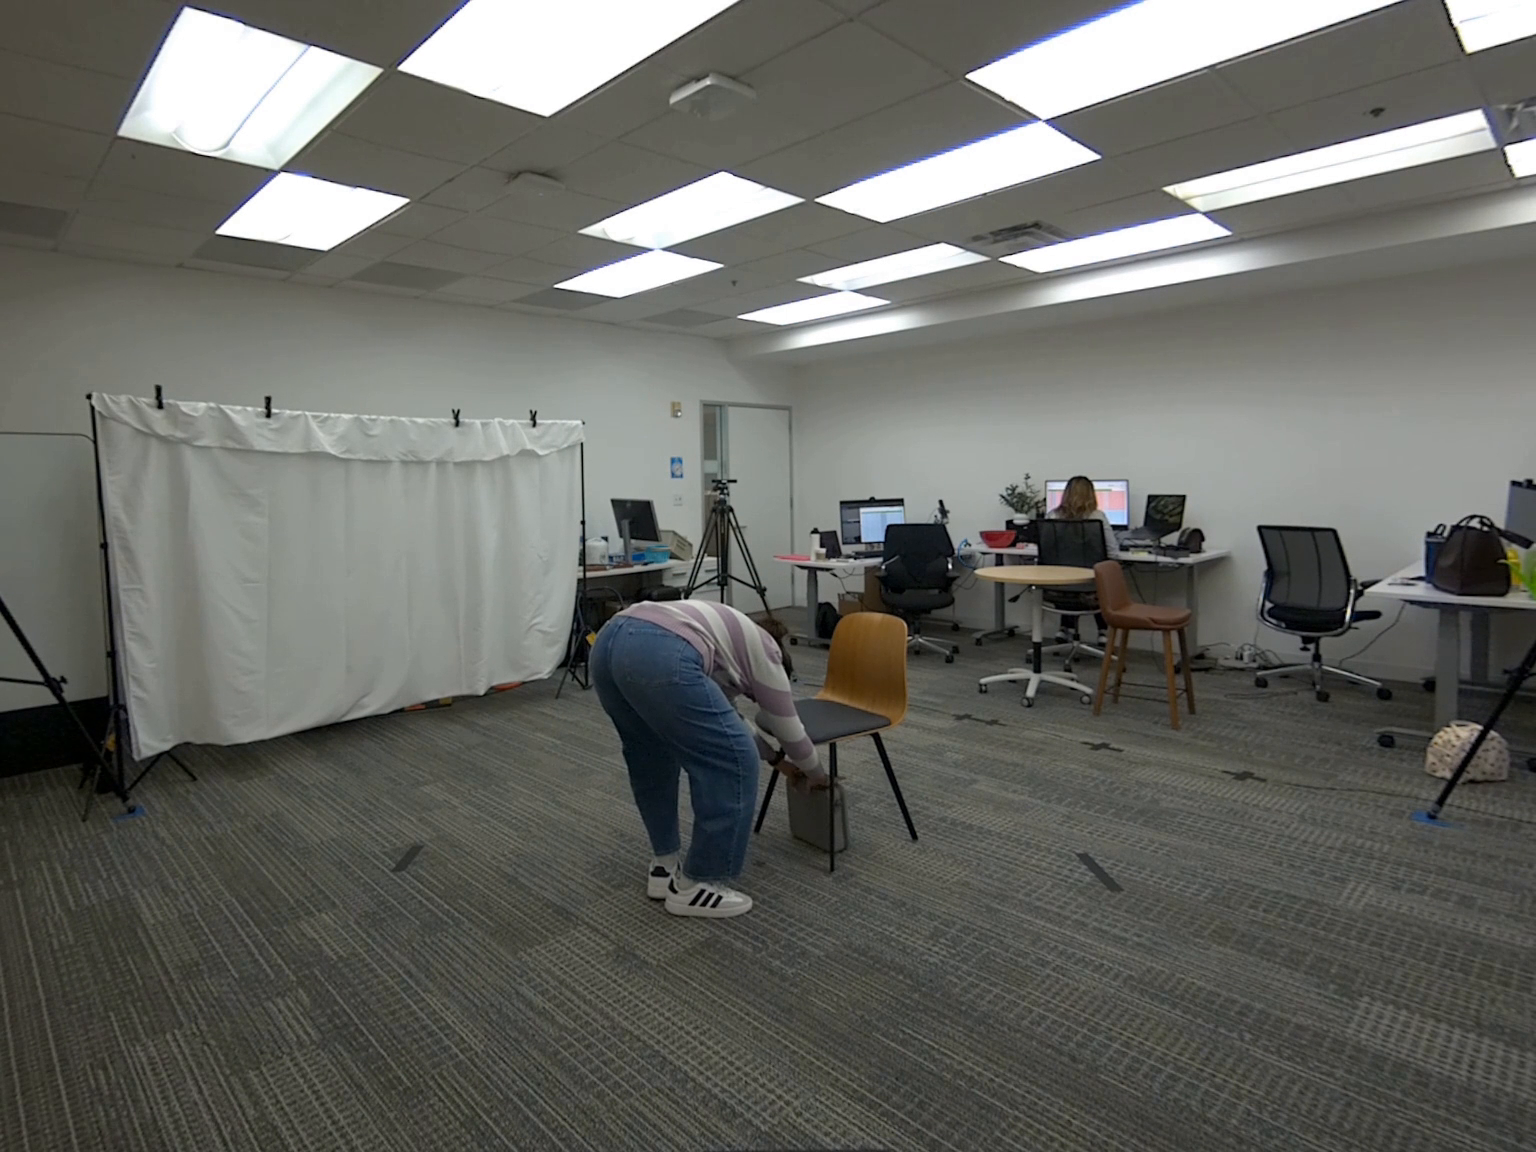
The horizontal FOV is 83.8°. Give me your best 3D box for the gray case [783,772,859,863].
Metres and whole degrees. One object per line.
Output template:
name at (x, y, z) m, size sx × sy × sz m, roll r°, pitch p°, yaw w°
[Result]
gray case at (0.199, 0.904, 3.261) m, size 0.102 × 0.259 × 0.264 m, roll -12°, pitch 9°, yaw -39°
